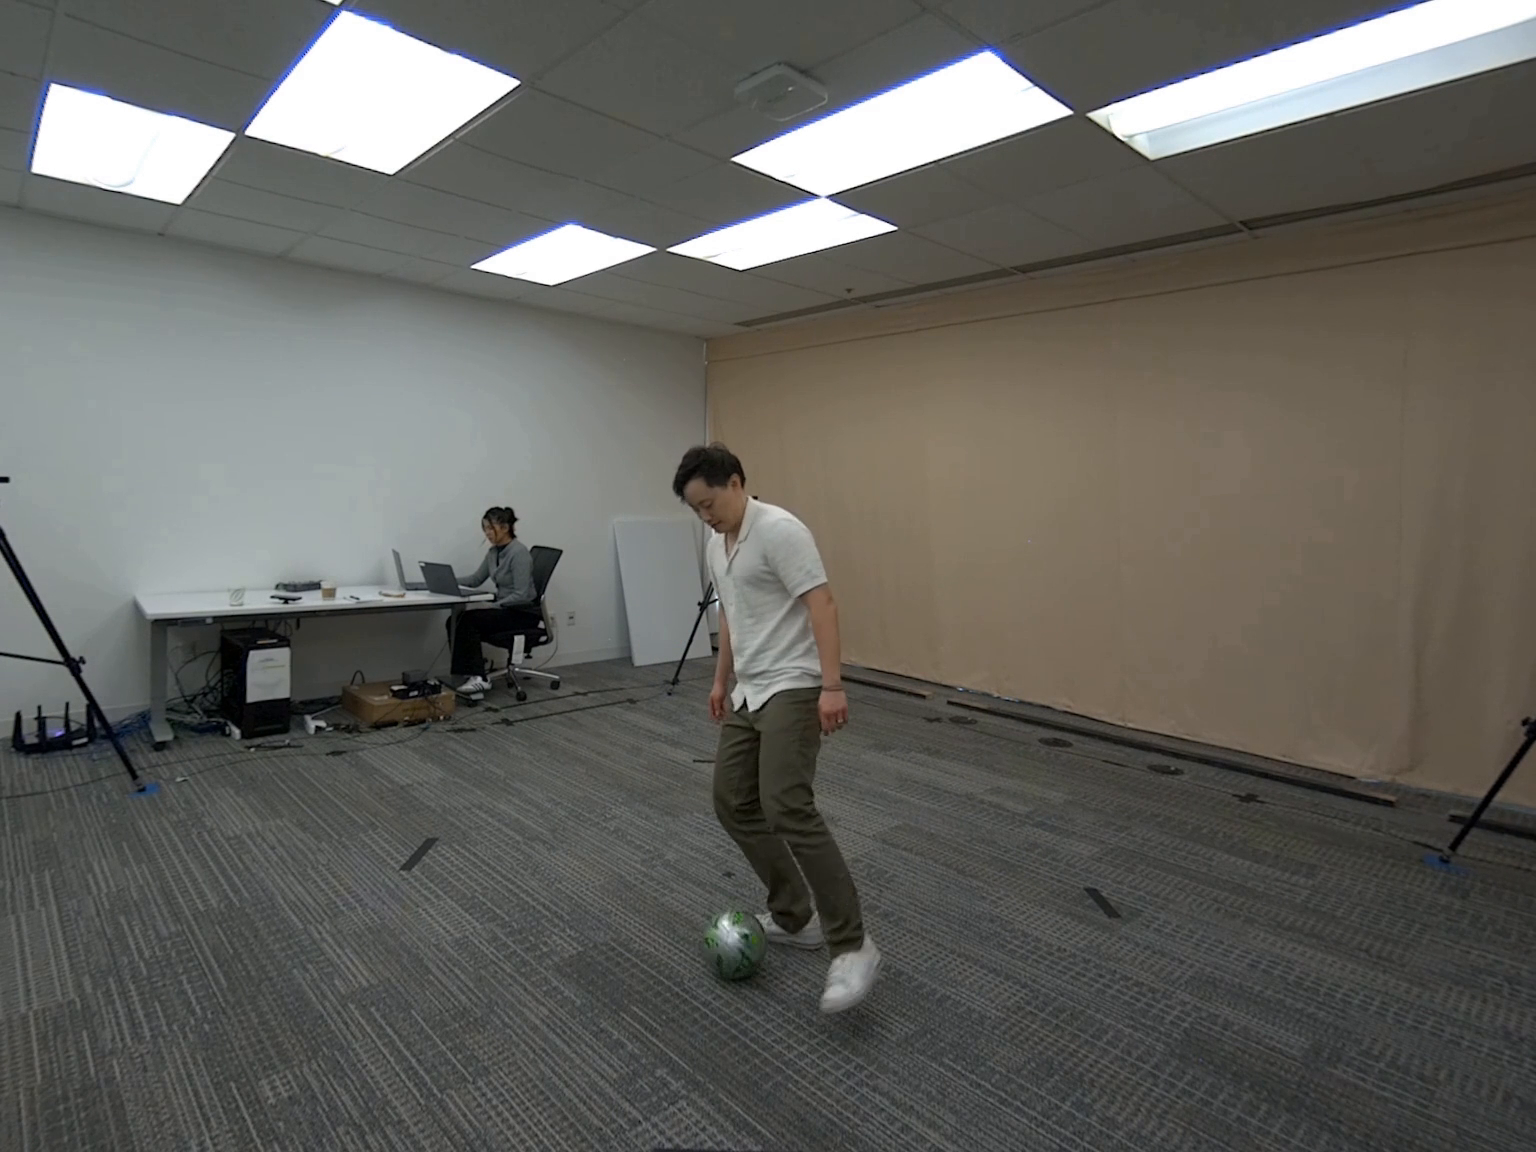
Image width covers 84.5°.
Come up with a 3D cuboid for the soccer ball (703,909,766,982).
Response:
[{"bbox_3d":[-0.105,1.072,2.457,0.187,0.187,0.188,1,4,-1],"label":"soccer ball"}]
